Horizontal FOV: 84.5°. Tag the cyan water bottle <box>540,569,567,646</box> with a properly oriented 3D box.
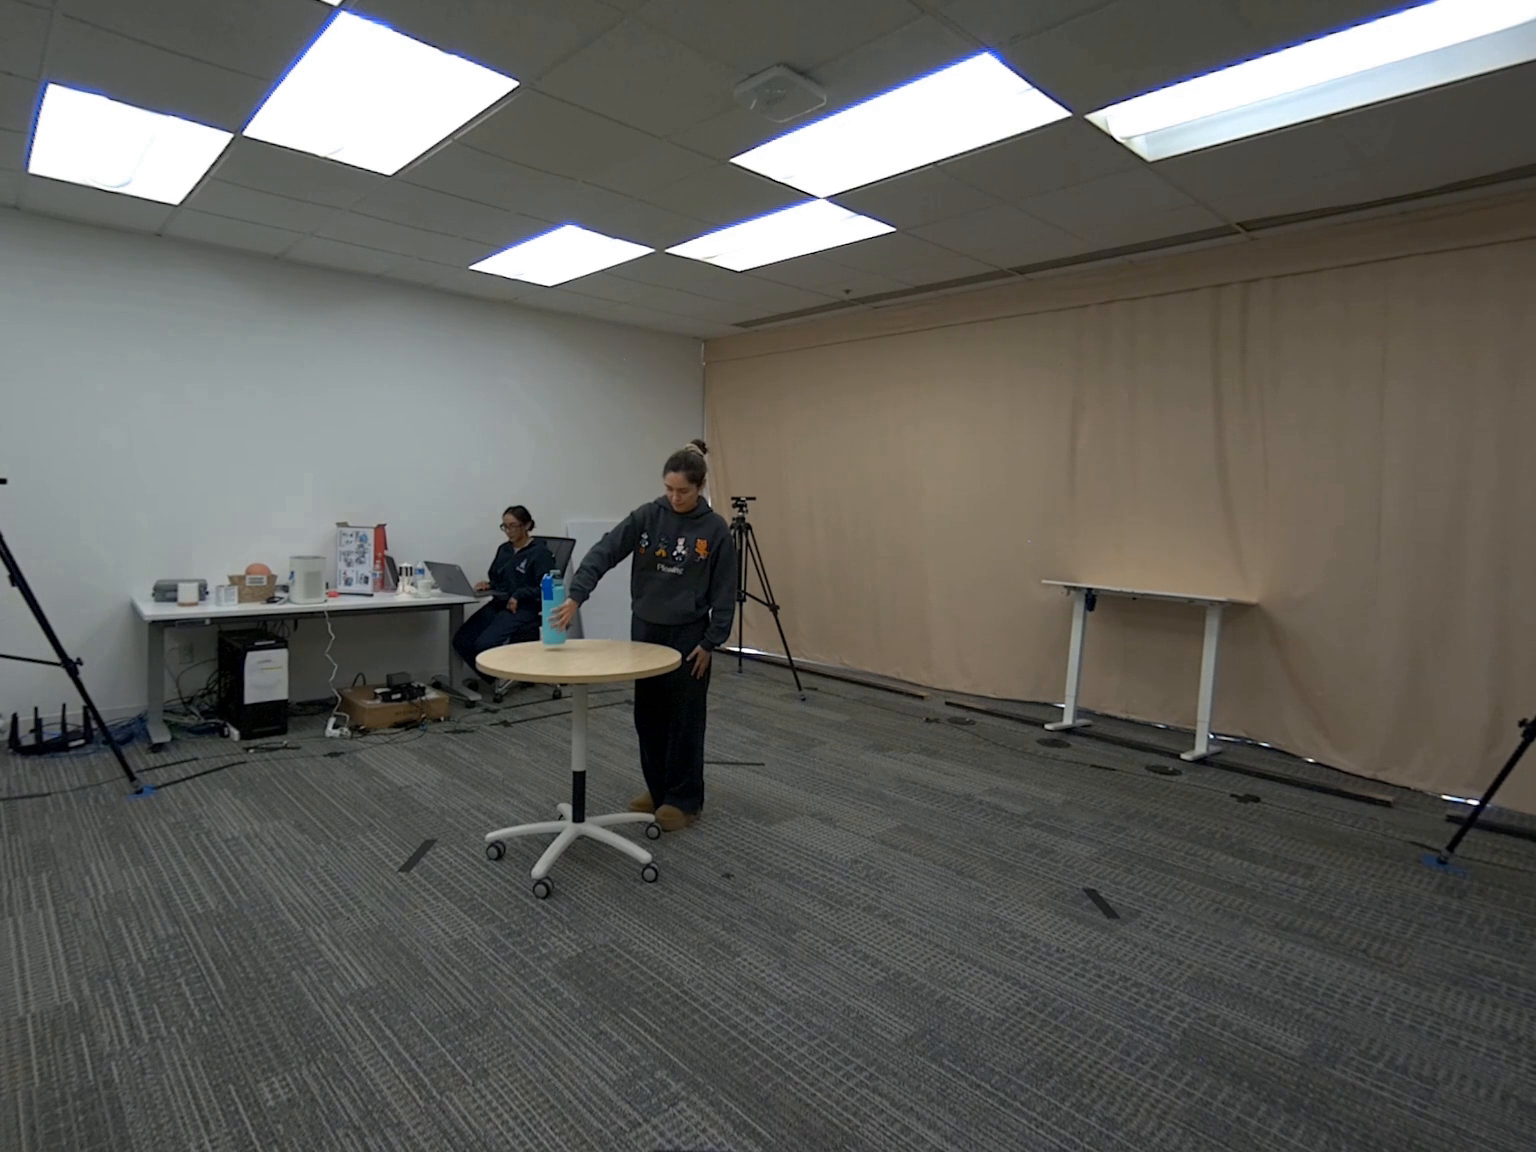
[{"bbox_3d":[-0.855,0.122,3.288,0.092,0.282,0.093,0,7,-1],"label":"cyan water bottle"}]
